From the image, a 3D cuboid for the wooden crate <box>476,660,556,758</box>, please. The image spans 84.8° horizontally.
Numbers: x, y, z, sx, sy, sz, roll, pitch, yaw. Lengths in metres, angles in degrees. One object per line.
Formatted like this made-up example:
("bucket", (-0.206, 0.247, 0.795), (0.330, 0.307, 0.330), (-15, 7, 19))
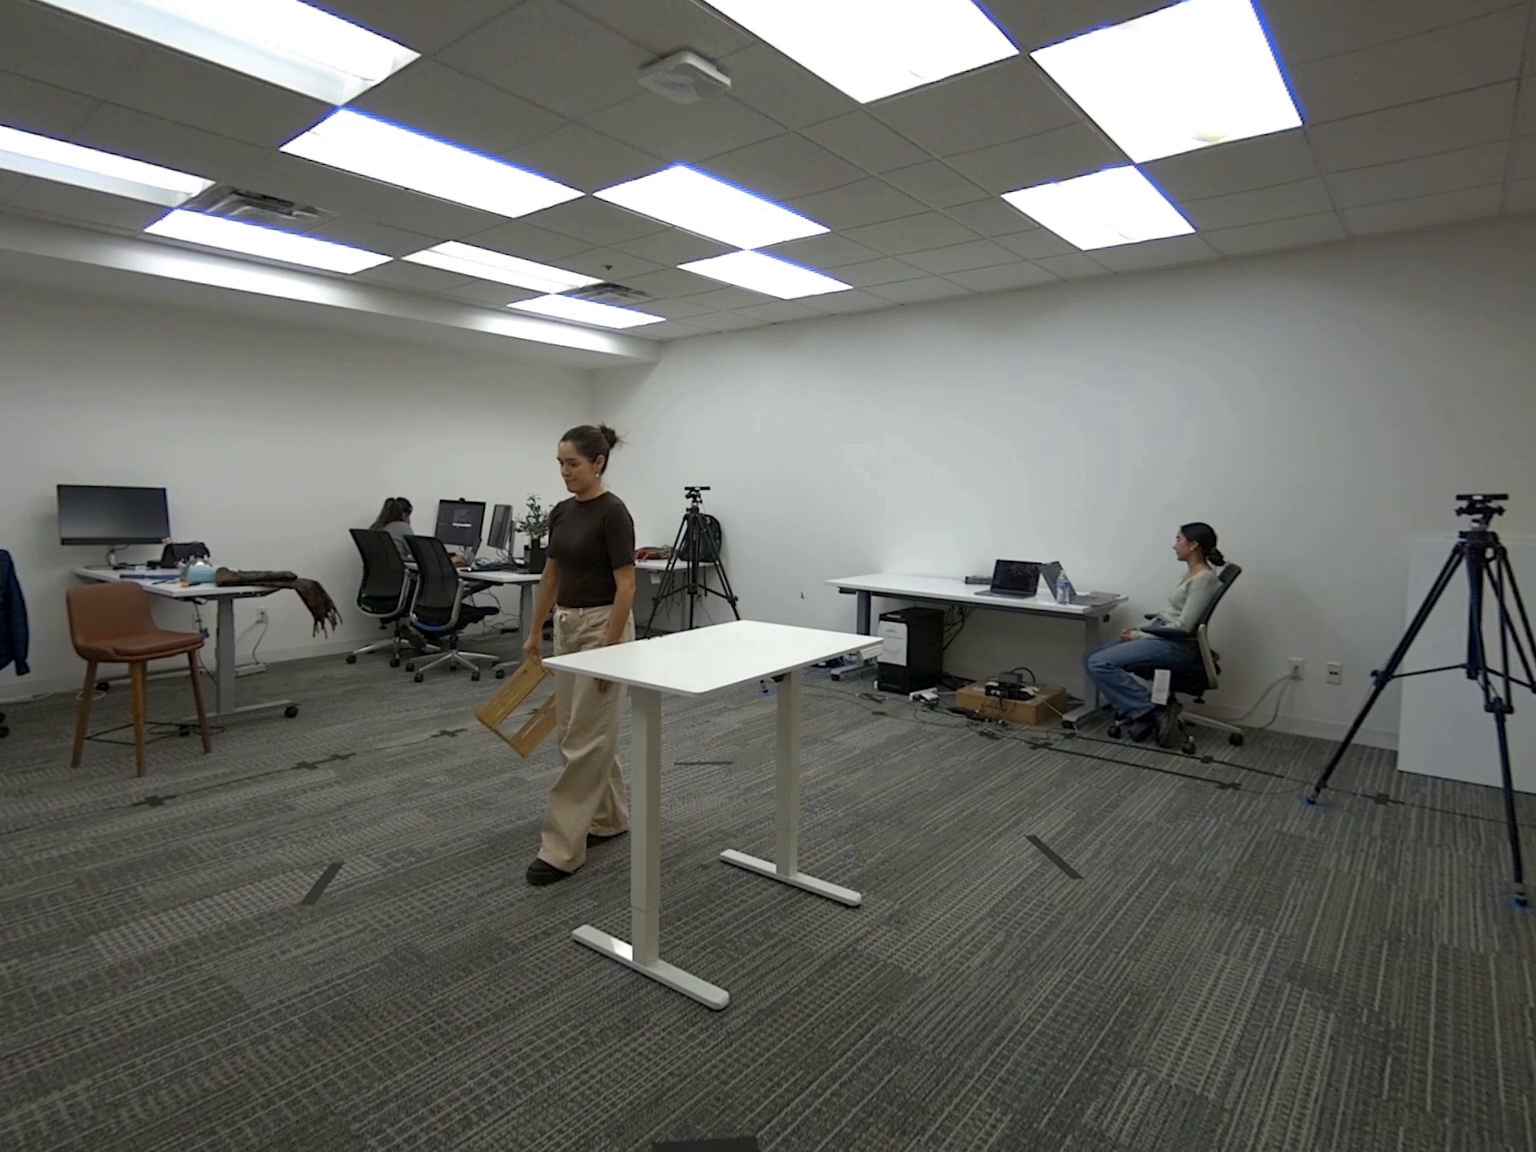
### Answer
("wooden crate", (-0.982, 0.519, 3.430), (0.273, 0.324, 0.303), (43, -13, -2))
